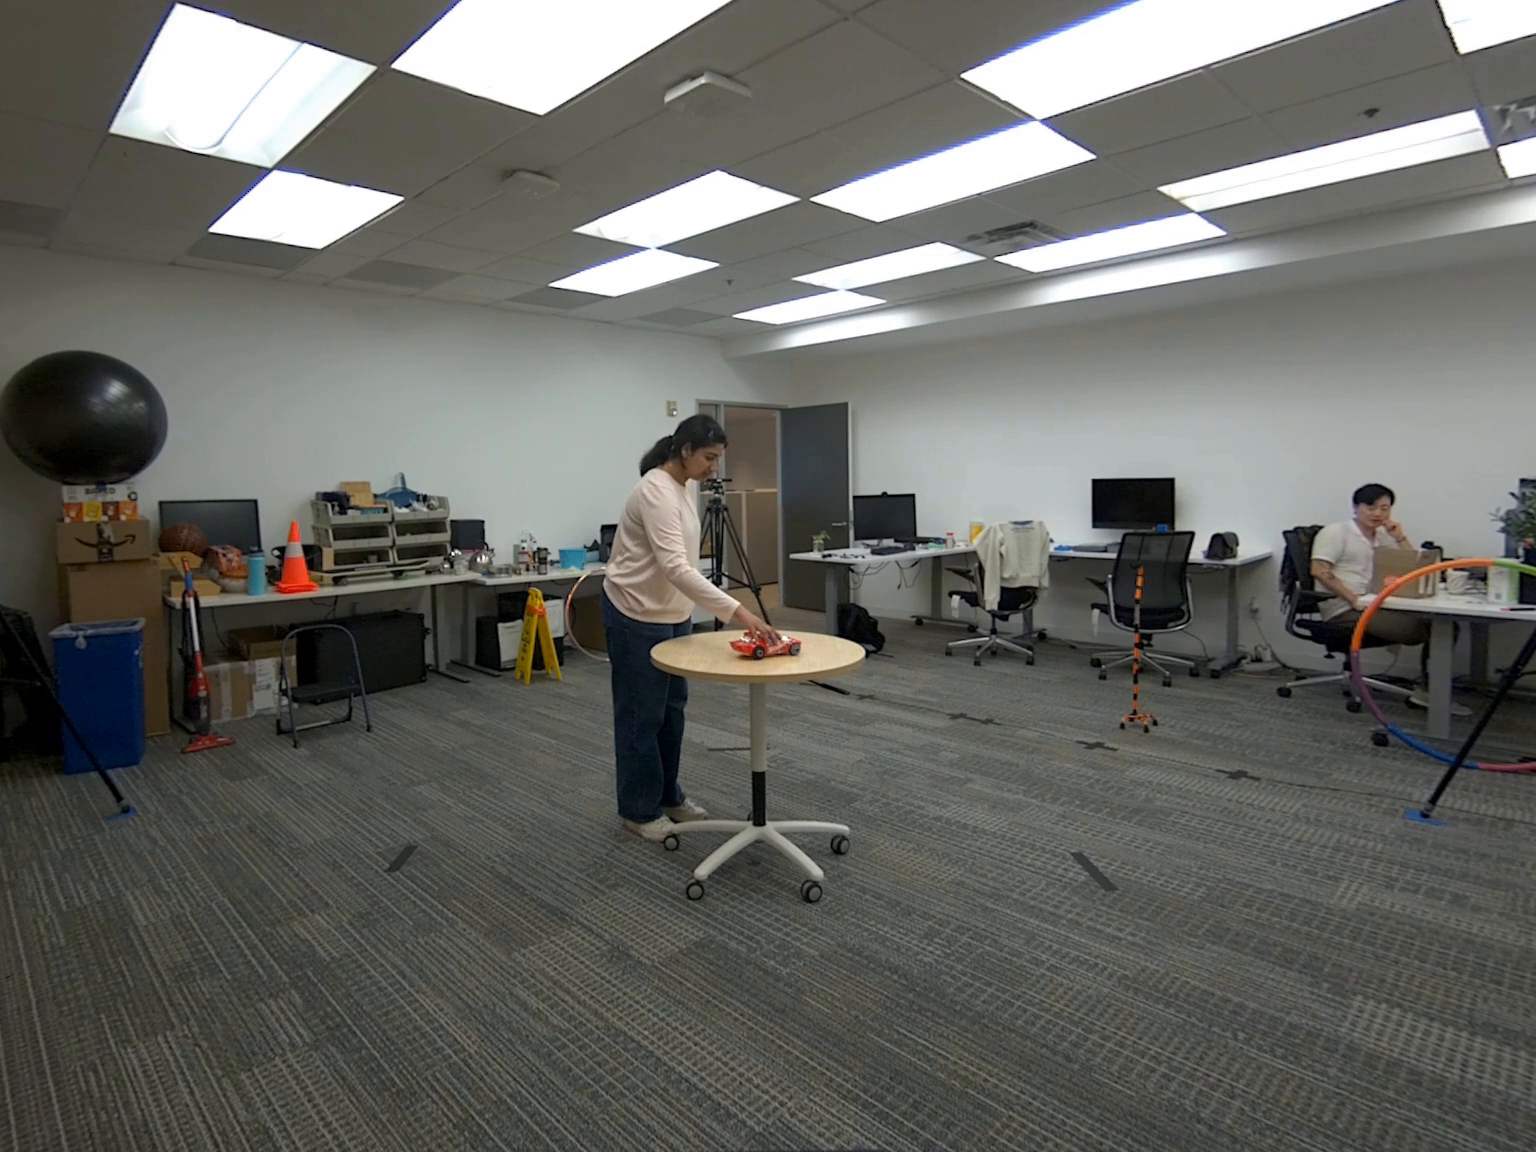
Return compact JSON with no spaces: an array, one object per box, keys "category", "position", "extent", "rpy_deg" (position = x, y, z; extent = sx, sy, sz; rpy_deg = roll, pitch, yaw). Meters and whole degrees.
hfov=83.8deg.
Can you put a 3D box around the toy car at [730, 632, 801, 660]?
[{"category":"toy car","position":[-0.014,0.246,2.968],"extent":[0.248,0.083,0.134],"rpy_deg":[8,1,-28]}]
